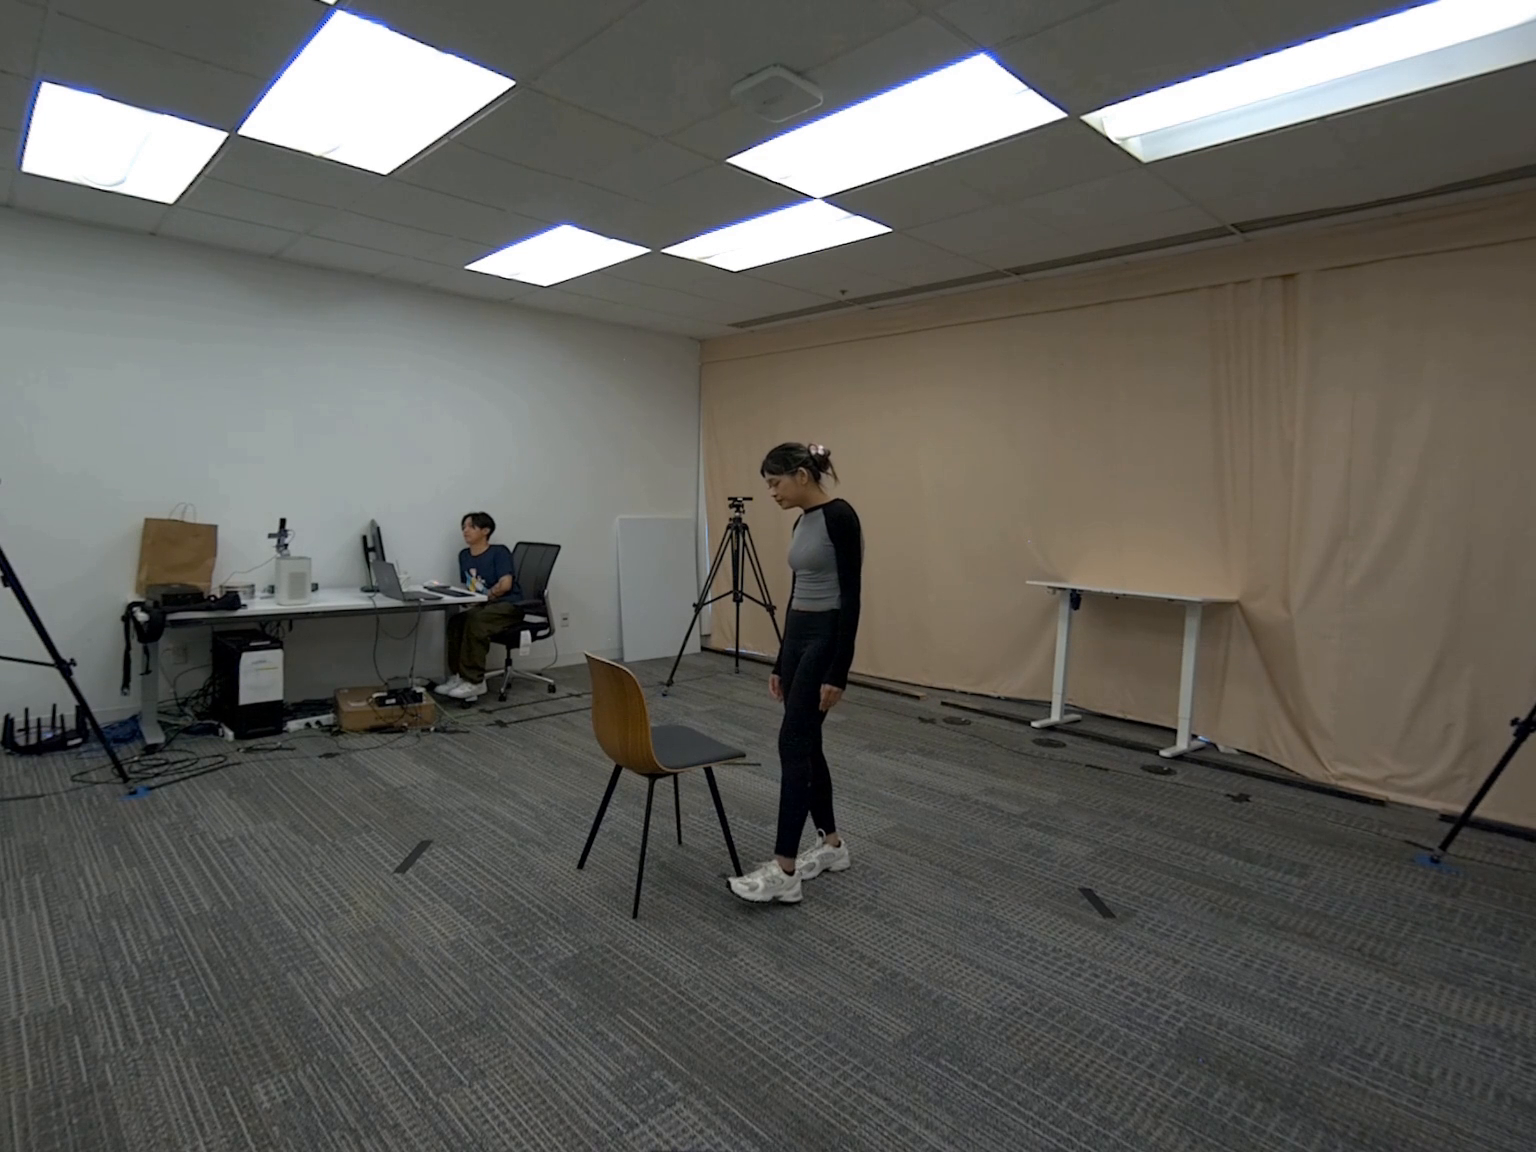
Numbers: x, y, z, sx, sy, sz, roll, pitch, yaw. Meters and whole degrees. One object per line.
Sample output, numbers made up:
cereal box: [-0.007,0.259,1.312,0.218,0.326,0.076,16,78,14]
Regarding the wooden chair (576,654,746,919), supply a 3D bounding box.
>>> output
wooden chair: [-0.375,0.676,3.057,0.512,0.874,0.490,-6,7,-36]
